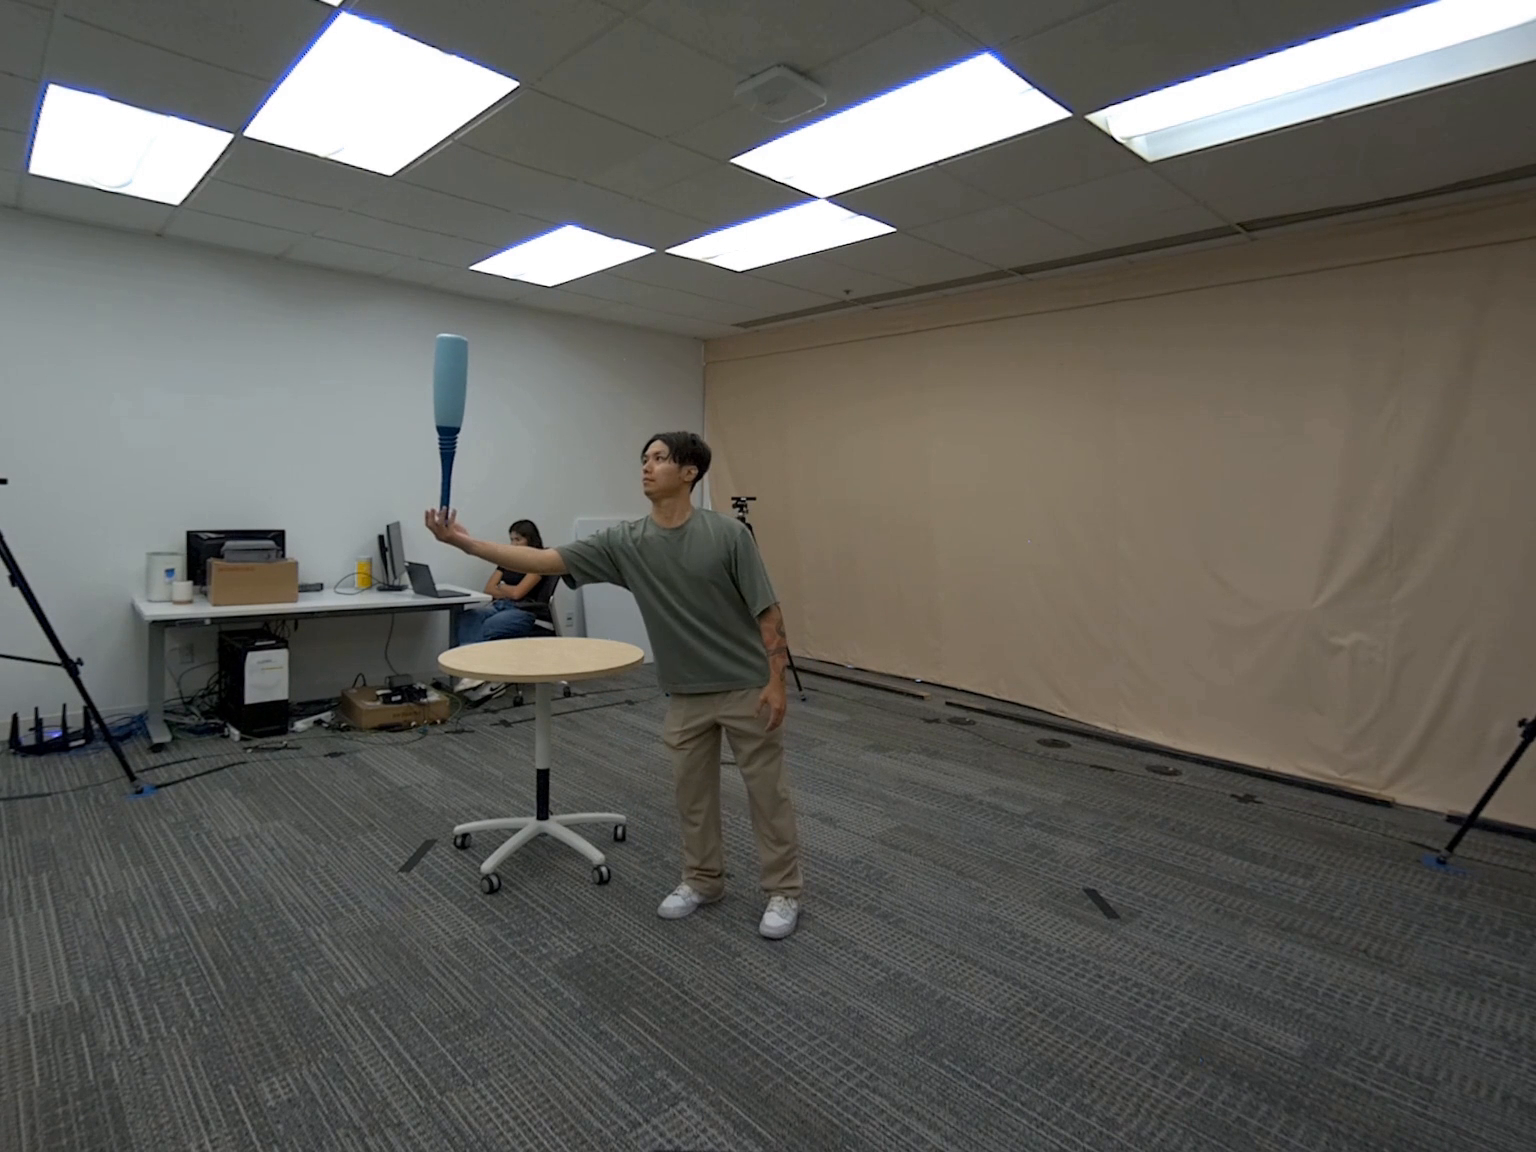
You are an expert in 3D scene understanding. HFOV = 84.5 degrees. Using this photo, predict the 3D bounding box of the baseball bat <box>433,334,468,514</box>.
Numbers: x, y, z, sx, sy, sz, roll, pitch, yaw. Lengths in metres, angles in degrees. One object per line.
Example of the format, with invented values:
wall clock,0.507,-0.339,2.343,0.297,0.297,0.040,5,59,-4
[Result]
baseball bat,-0.897,-0.399,2.345,0.089,0.540,0.090,3,8,-2
